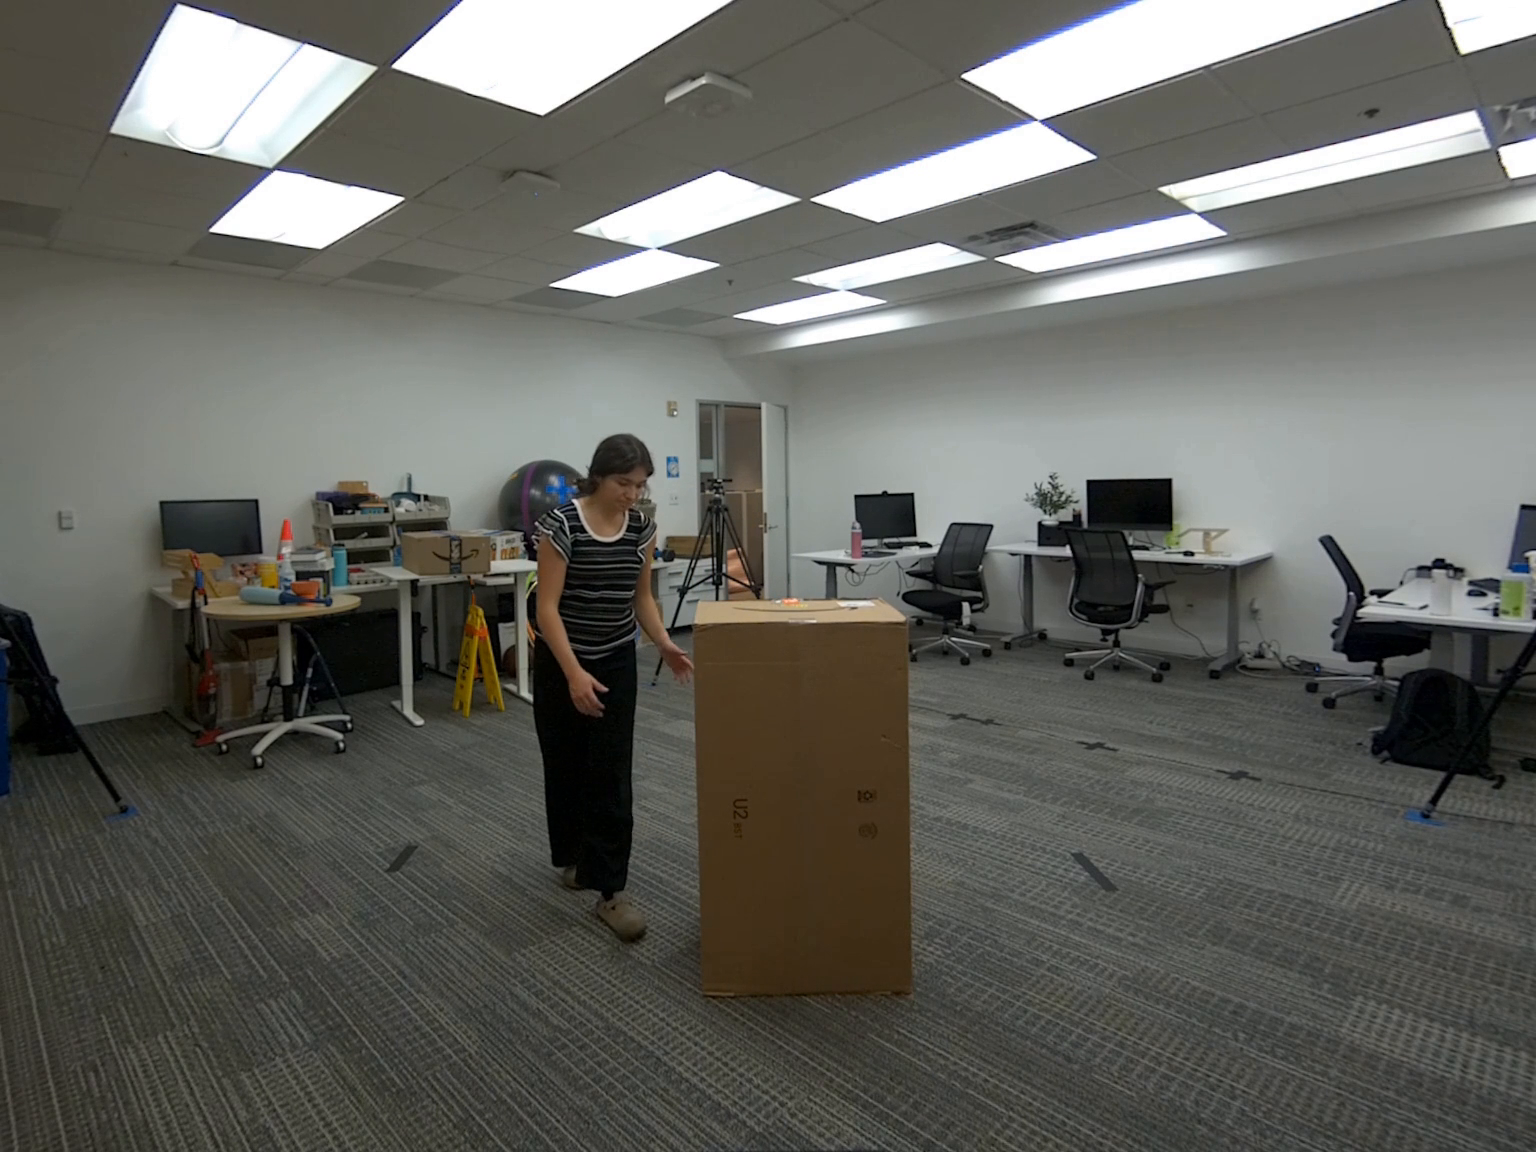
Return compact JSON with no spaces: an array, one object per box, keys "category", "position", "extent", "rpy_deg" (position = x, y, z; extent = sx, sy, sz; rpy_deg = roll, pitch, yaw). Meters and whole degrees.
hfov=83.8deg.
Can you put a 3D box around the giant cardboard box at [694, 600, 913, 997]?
[{"category":"giant cardboard box","position":[0.089,0.605,2.482],"extent":[0.578,1.022,0.427],"rpy_deg":[-1,4,1]}]
